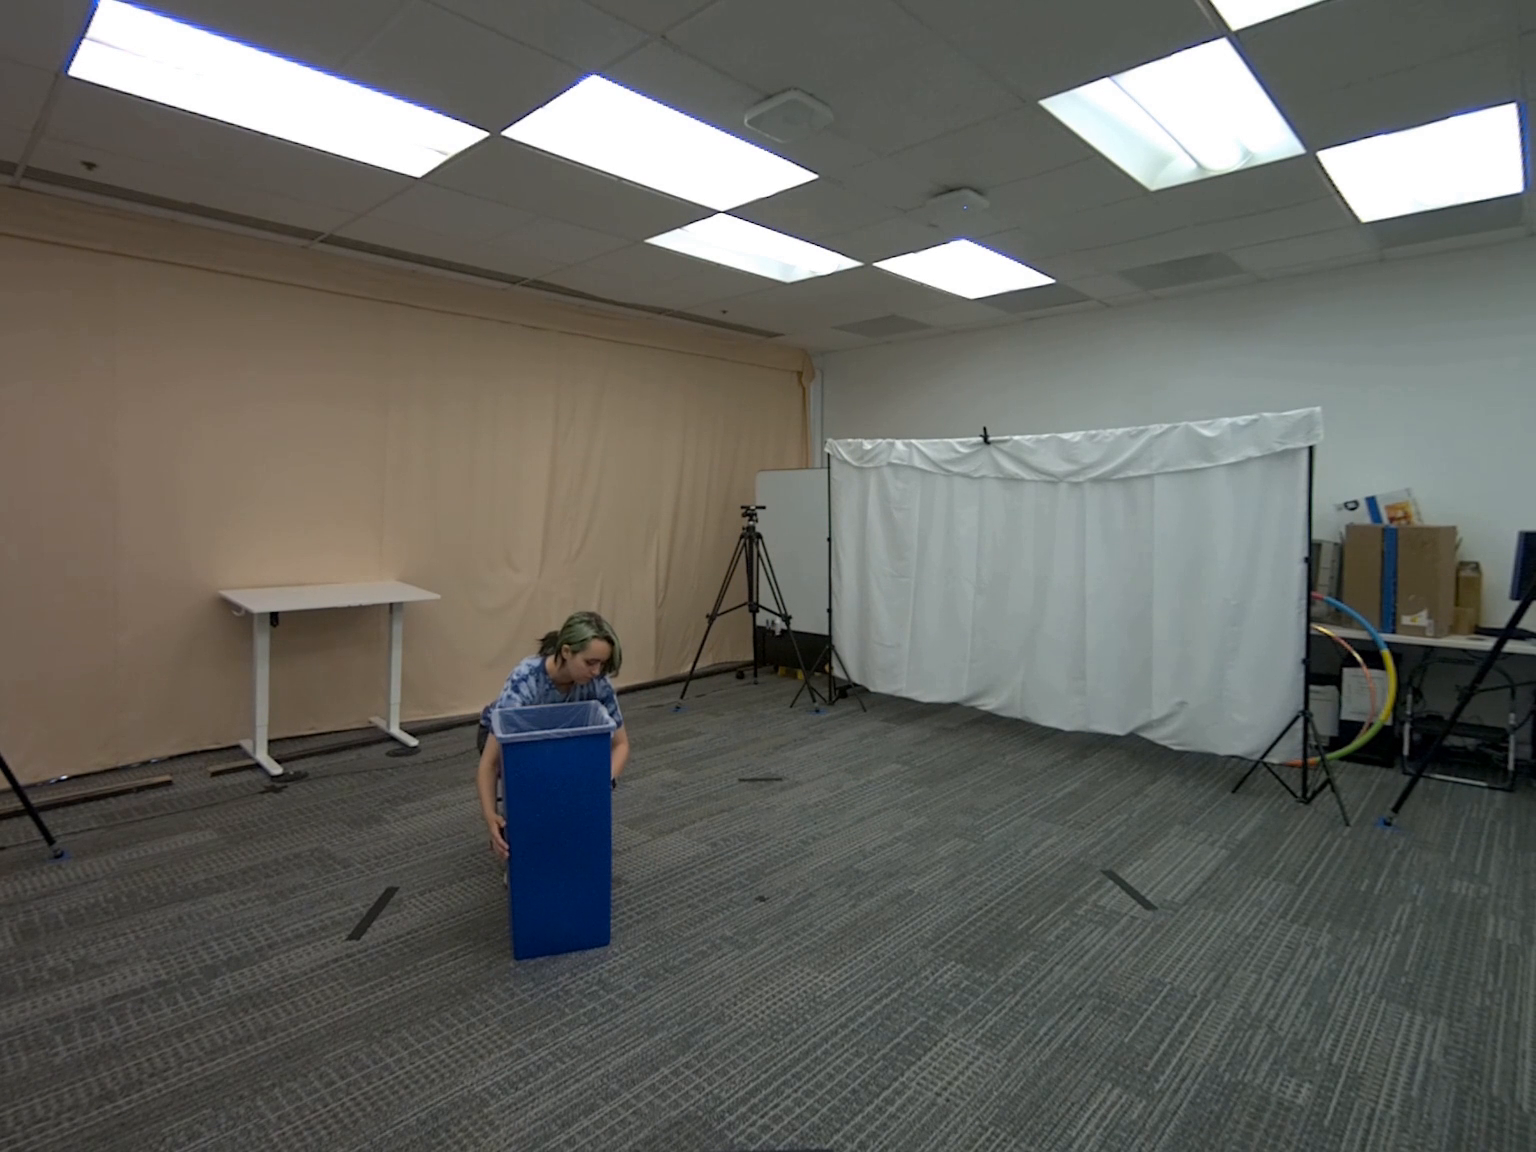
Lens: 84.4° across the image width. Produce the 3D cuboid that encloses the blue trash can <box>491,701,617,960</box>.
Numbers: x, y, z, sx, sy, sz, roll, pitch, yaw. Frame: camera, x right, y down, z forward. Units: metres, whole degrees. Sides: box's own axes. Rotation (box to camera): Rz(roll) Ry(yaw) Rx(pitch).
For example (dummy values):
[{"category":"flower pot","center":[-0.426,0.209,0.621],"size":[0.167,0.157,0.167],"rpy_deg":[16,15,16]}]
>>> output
[{"category":"blue trash can","center":[-0.700,0.818,2.744],"size":[0.367,0.712,0.386],"rpy_deg":[-2,3,-19]}]
